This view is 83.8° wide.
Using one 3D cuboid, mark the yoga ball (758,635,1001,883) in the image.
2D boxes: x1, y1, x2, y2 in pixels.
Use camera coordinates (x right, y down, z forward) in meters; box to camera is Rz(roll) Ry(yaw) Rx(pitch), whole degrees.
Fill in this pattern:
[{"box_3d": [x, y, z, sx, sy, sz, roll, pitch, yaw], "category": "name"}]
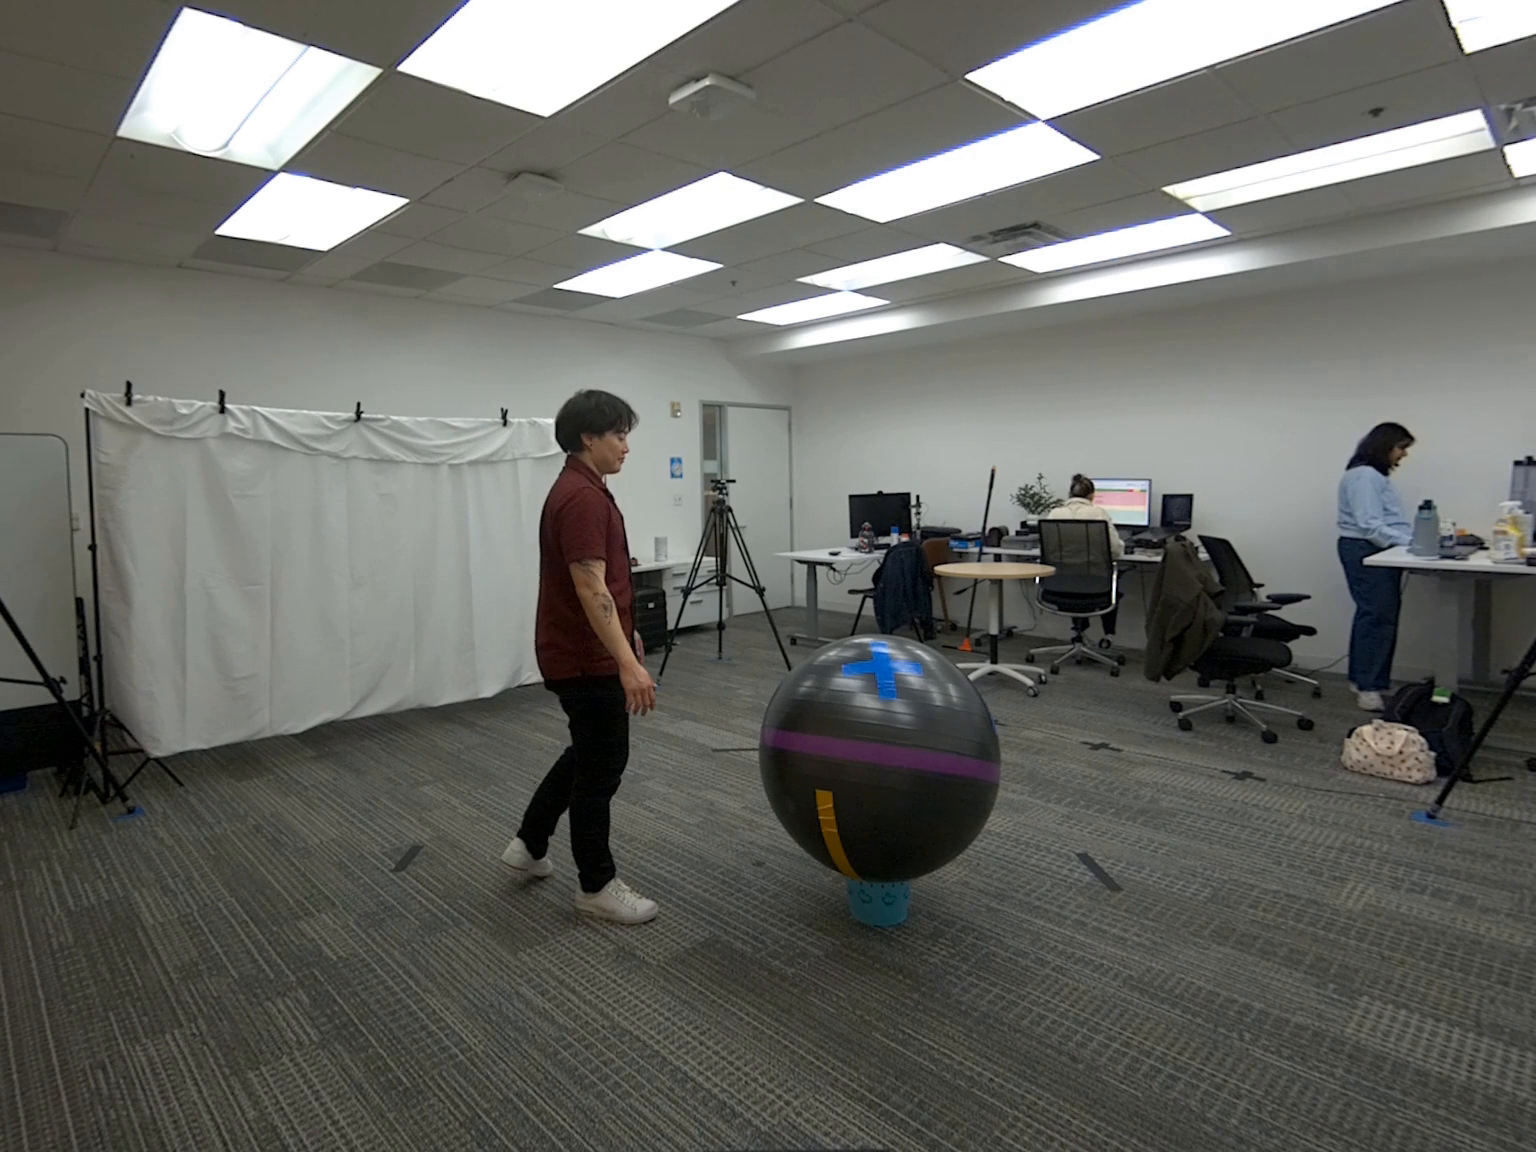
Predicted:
[{"box_3d": [0.358, 0.573, 2.729, 0.757, 0.755, 0.762, -1, 5, -2], "category": "yoga ball"}]
